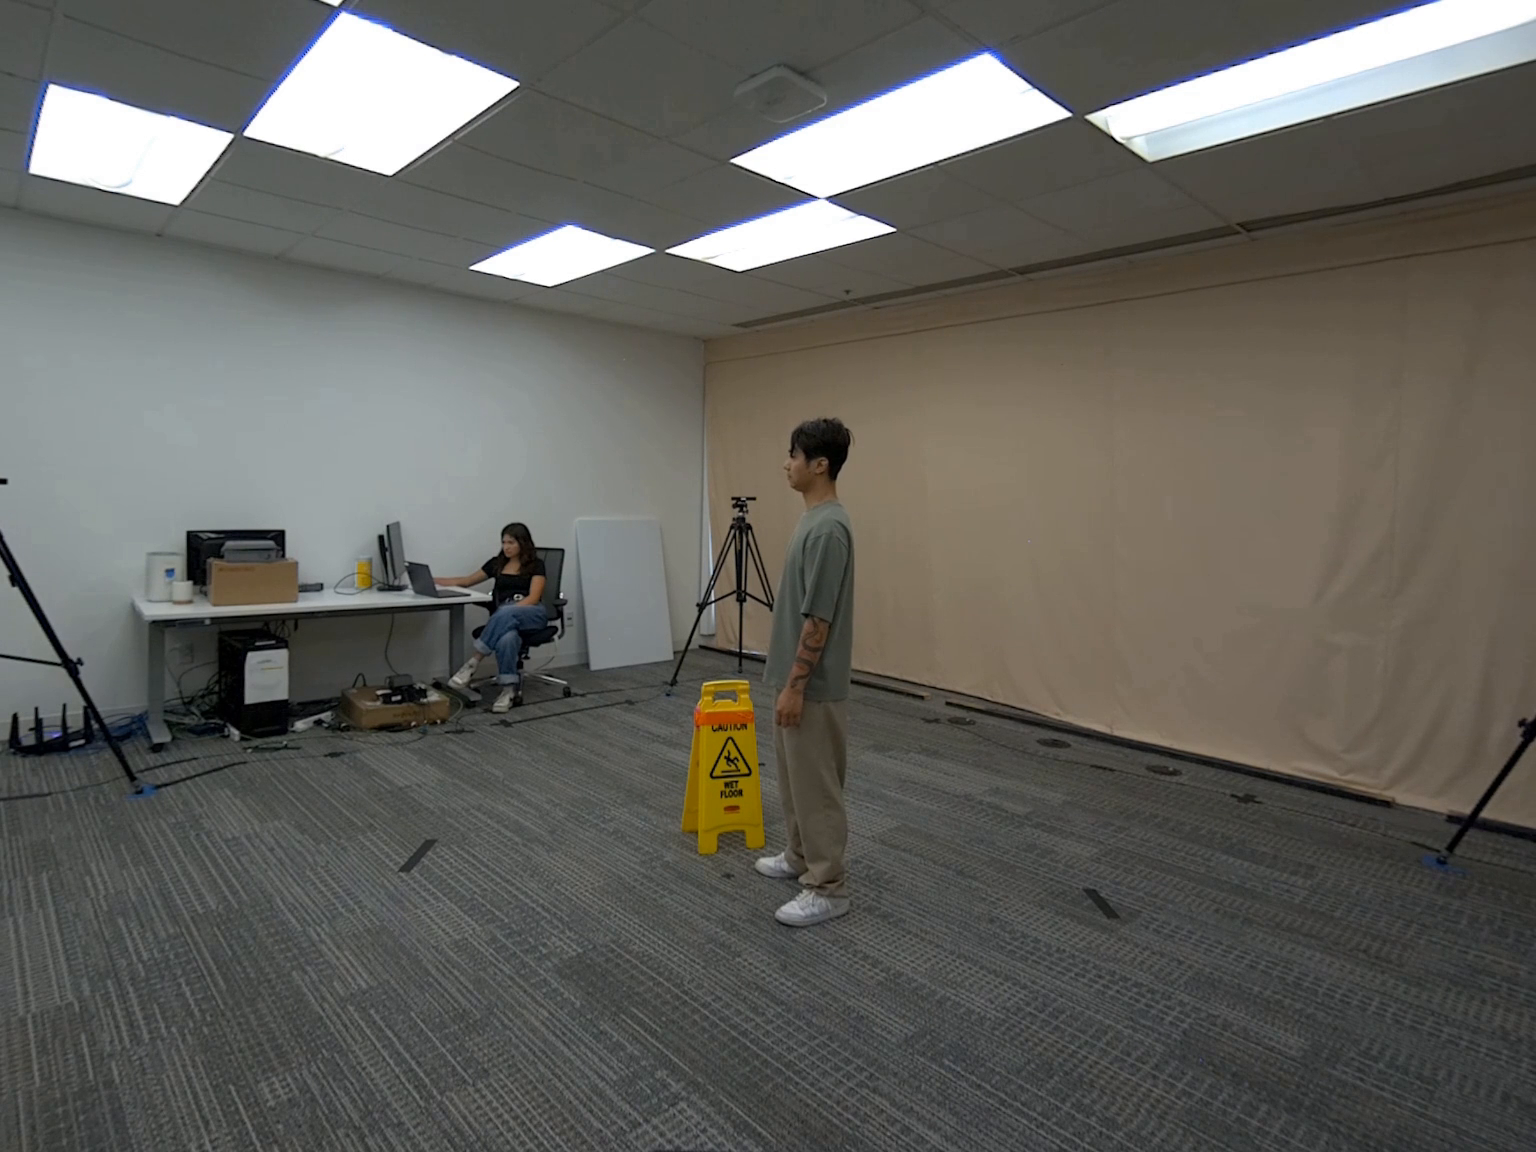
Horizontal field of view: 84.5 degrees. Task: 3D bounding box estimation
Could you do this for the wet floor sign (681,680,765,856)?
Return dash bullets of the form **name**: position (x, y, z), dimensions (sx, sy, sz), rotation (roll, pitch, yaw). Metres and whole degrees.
- **wet floor sign**: position (-0.186, 0.750, 3.426), dimensions (0.278, 0.644, 0.295), rotation (0, 3, -21)
